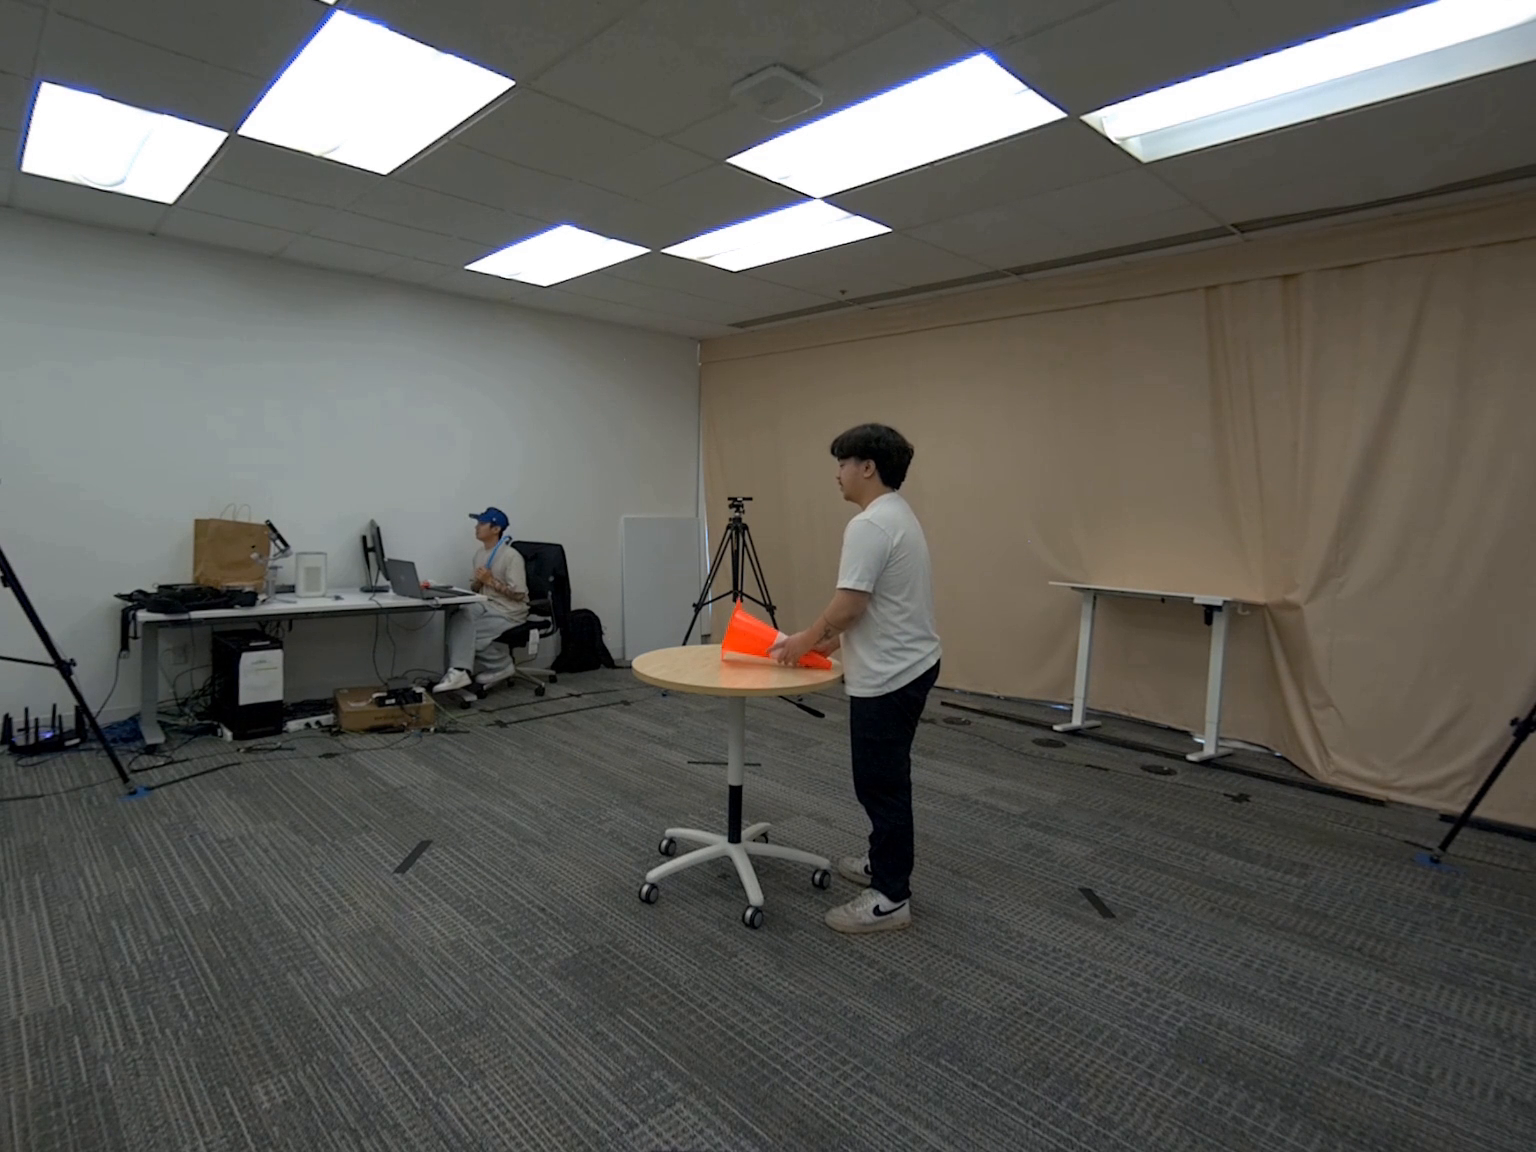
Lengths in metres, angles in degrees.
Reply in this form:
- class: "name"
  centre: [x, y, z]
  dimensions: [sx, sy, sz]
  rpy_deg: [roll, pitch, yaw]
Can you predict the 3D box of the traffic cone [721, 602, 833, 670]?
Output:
- class: "traffic cone"
  centre: [0.044, 0.266, 3.017]
  dimensions: [0.388, 0.206, 0.199]
  rpy_deg: [19, -22, 12]
